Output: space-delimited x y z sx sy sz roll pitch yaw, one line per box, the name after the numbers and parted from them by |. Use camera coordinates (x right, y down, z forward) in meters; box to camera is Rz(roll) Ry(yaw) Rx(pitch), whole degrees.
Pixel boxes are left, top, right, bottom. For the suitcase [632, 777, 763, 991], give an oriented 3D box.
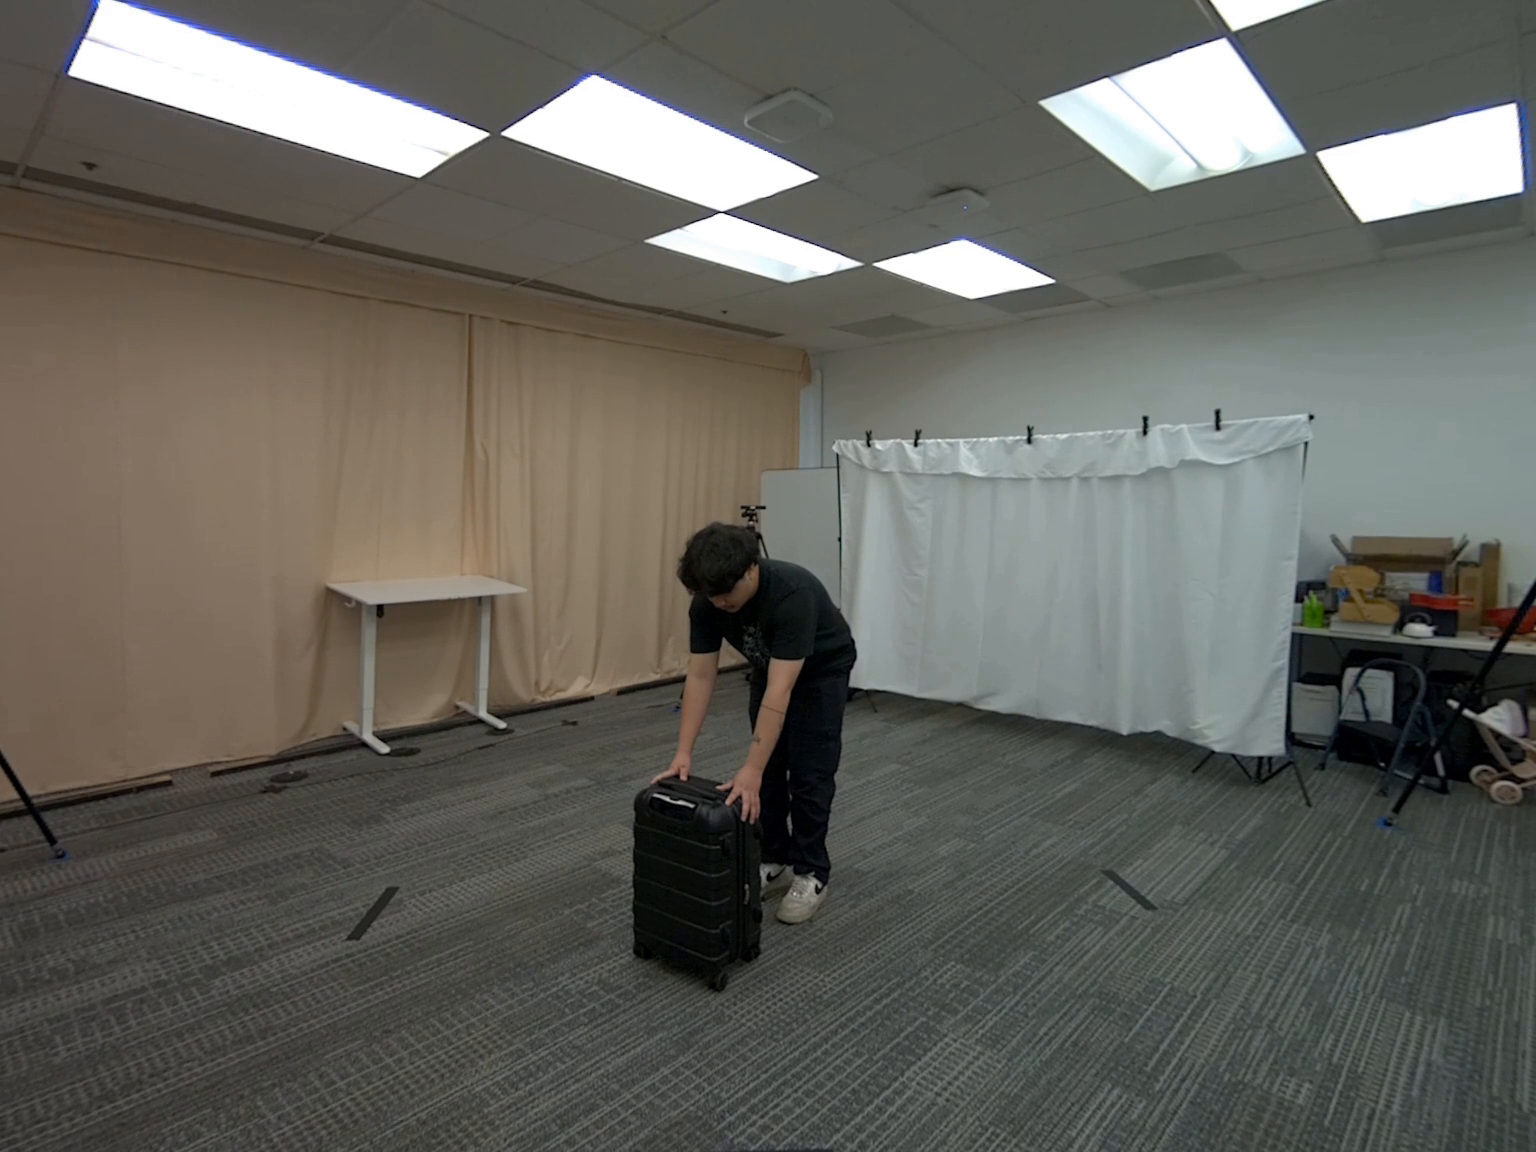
-0.222 0.909 2.566 0.387 0.548 0.241 2 5 36 | suitcase
